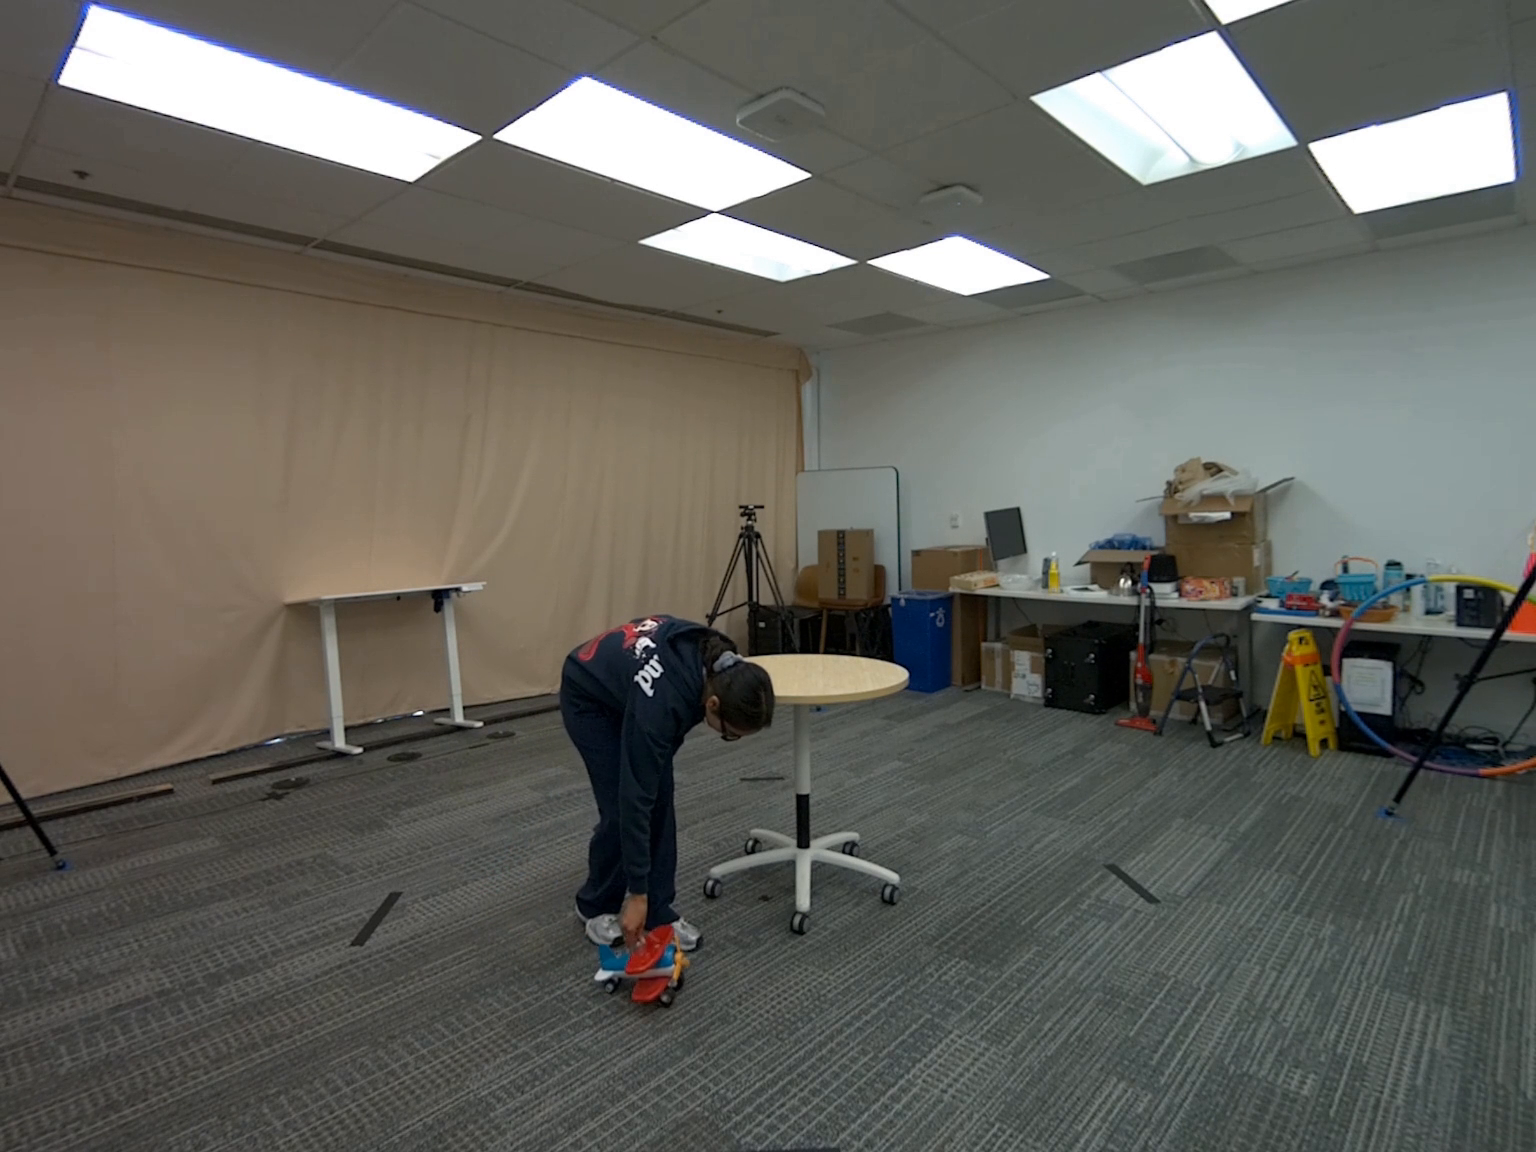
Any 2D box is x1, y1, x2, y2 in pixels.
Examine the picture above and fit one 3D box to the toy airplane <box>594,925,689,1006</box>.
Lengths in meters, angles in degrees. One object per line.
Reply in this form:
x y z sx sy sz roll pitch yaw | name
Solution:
-0.359 1.124 2.391 0.256 0.156 0.255 -1 4 -14 | toy airplane
